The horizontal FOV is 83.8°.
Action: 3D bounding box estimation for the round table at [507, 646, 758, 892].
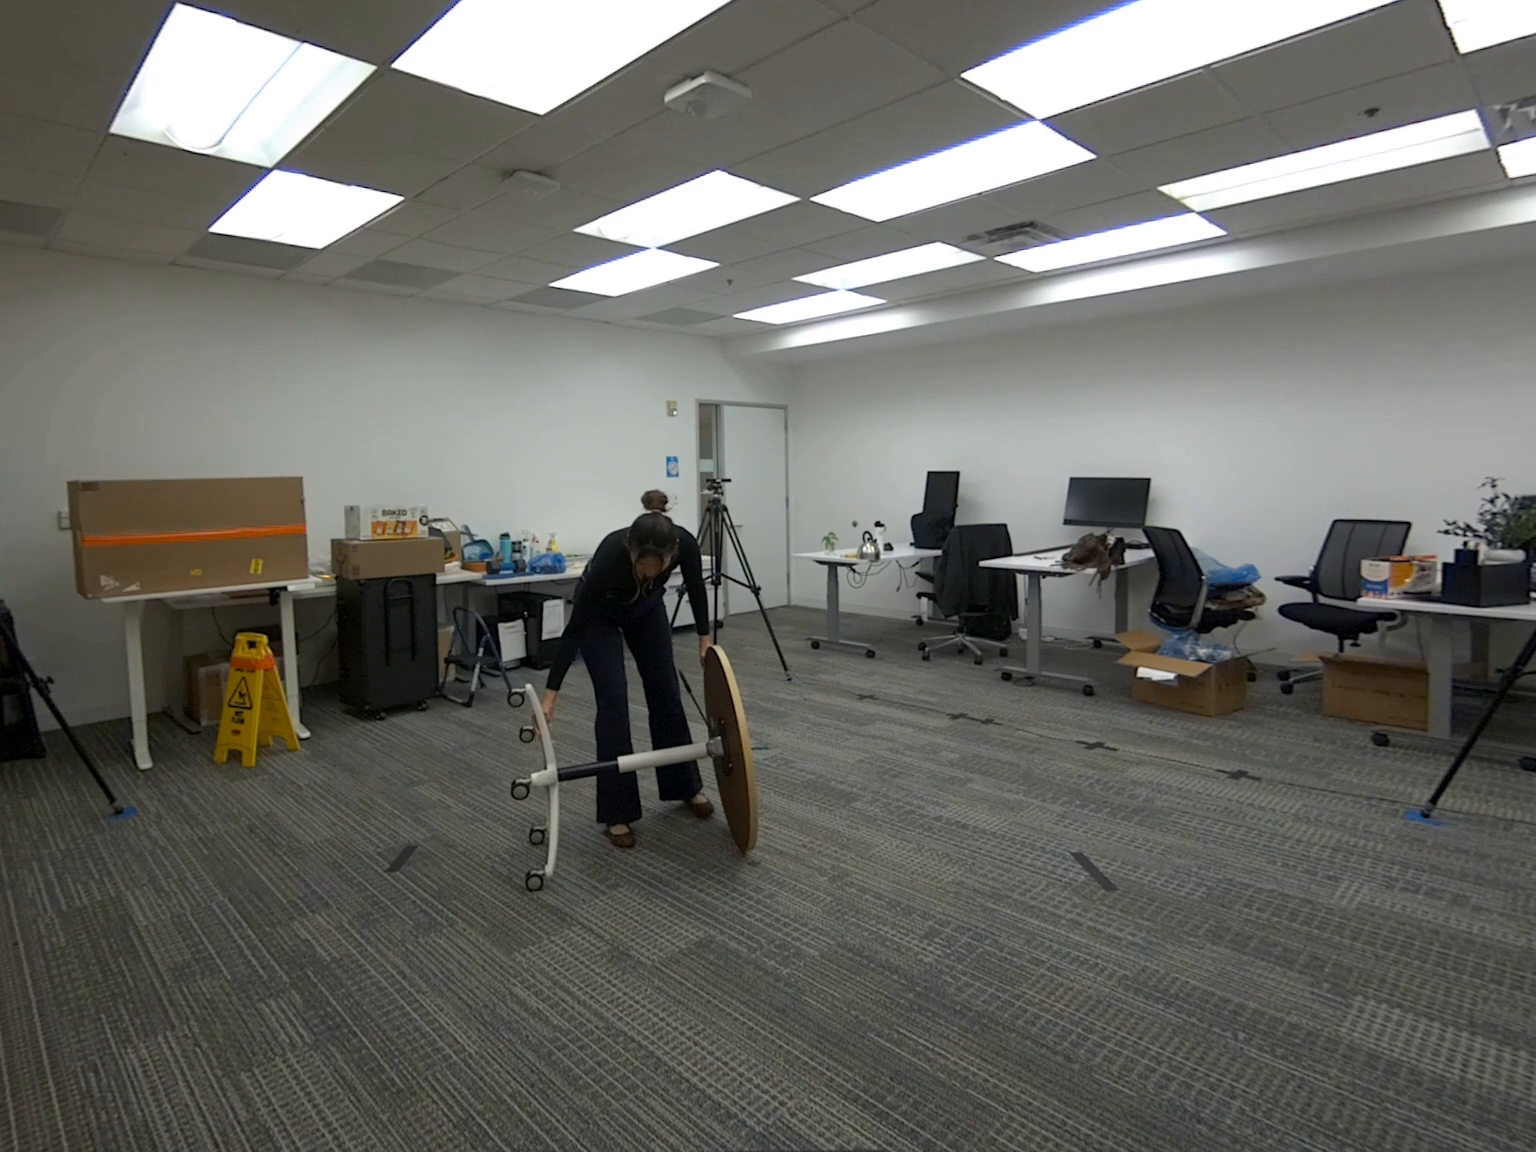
[{"bbox_3d":[-0.522,0.704,3.177,0.786,0.760,0.776,-8,6,-12],"label":"round table"}]
